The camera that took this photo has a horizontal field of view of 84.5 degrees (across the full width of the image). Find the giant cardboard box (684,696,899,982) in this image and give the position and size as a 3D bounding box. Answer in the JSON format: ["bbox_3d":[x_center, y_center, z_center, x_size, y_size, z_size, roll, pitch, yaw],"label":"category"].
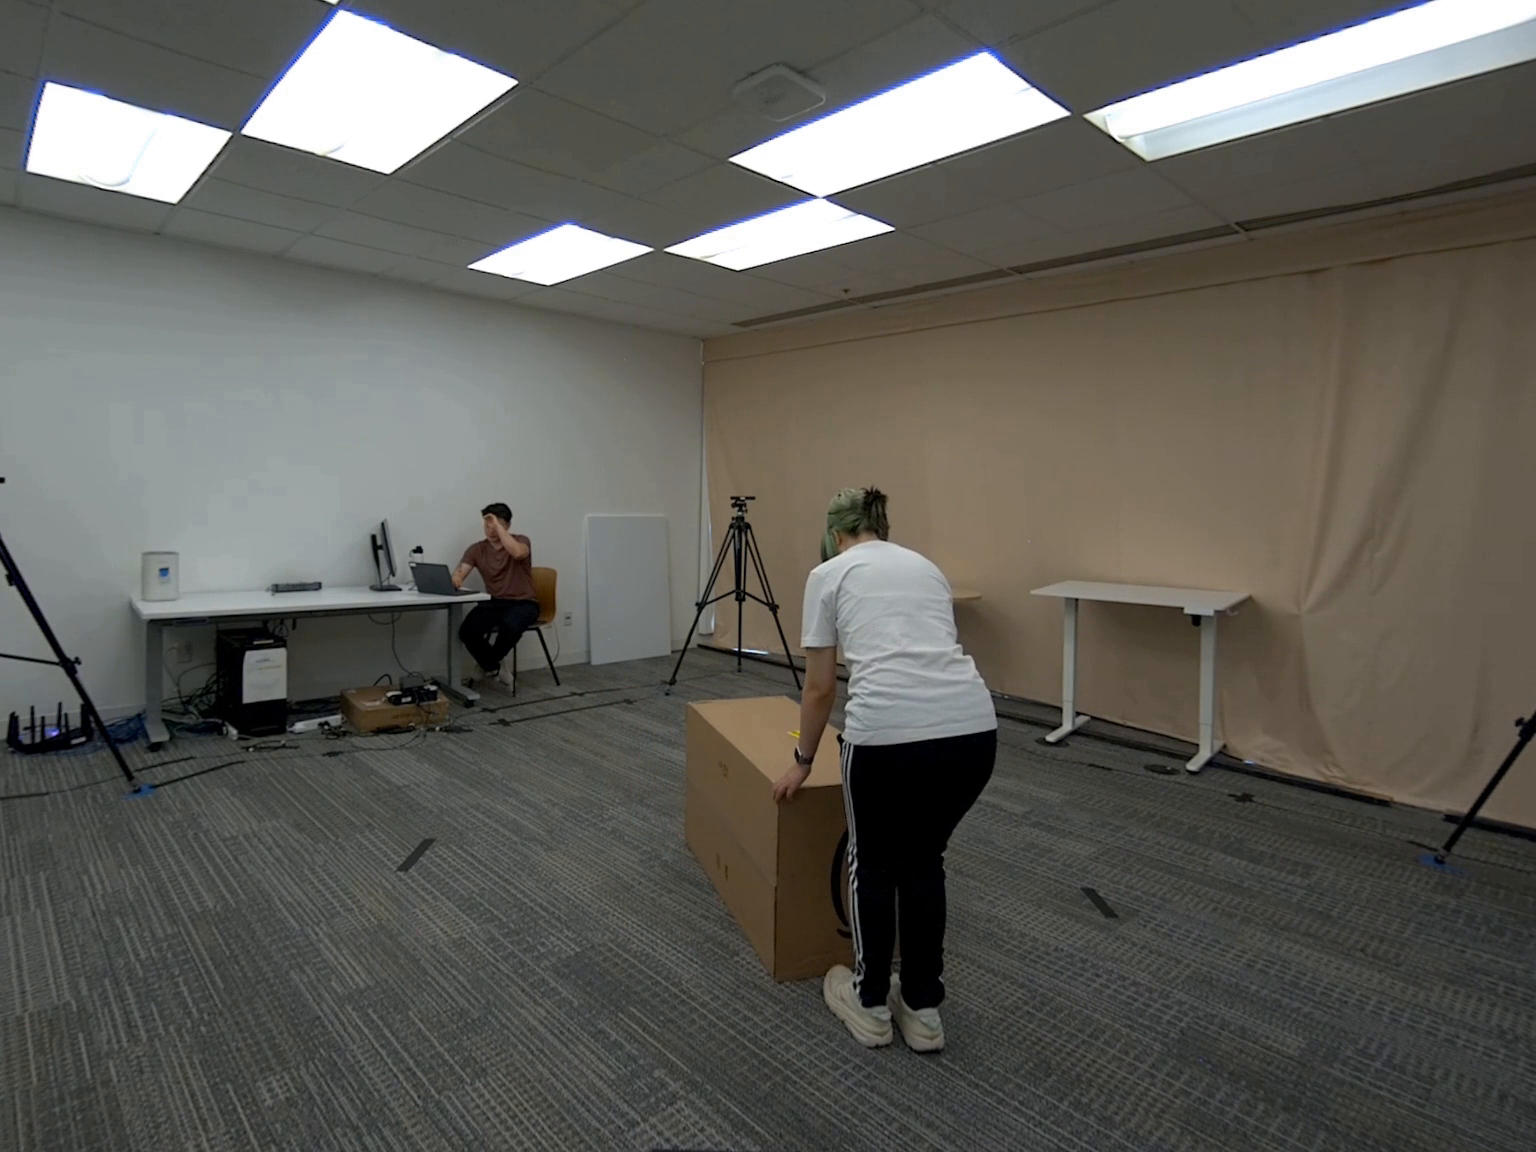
[{"bbox_3d":[0.042,0.834,2.950,0.440,0.582,1.046,1,5,-20],"label":"giant cardboard box"}]
